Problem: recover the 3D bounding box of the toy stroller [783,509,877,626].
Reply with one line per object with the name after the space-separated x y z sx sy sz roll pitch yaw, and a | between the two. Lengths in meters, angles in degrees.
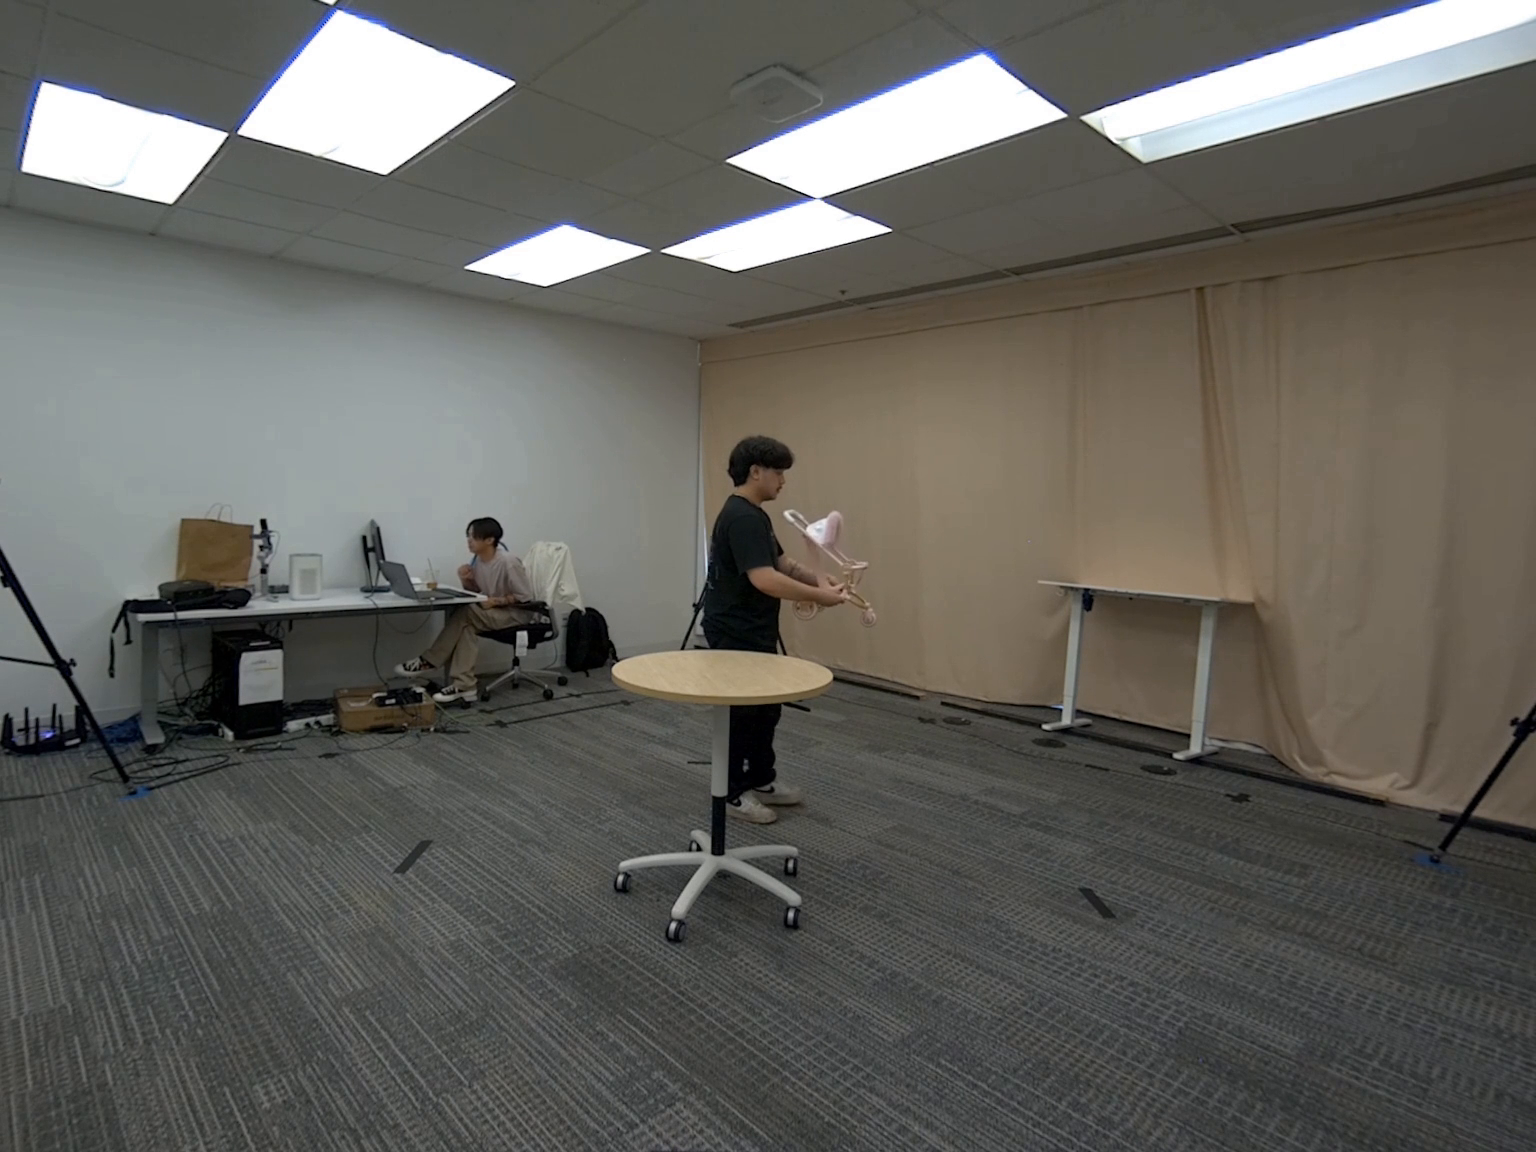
0.272 -0.038 3.614 0.346 0.534 0.278 -6 1 20 | toy stroller
